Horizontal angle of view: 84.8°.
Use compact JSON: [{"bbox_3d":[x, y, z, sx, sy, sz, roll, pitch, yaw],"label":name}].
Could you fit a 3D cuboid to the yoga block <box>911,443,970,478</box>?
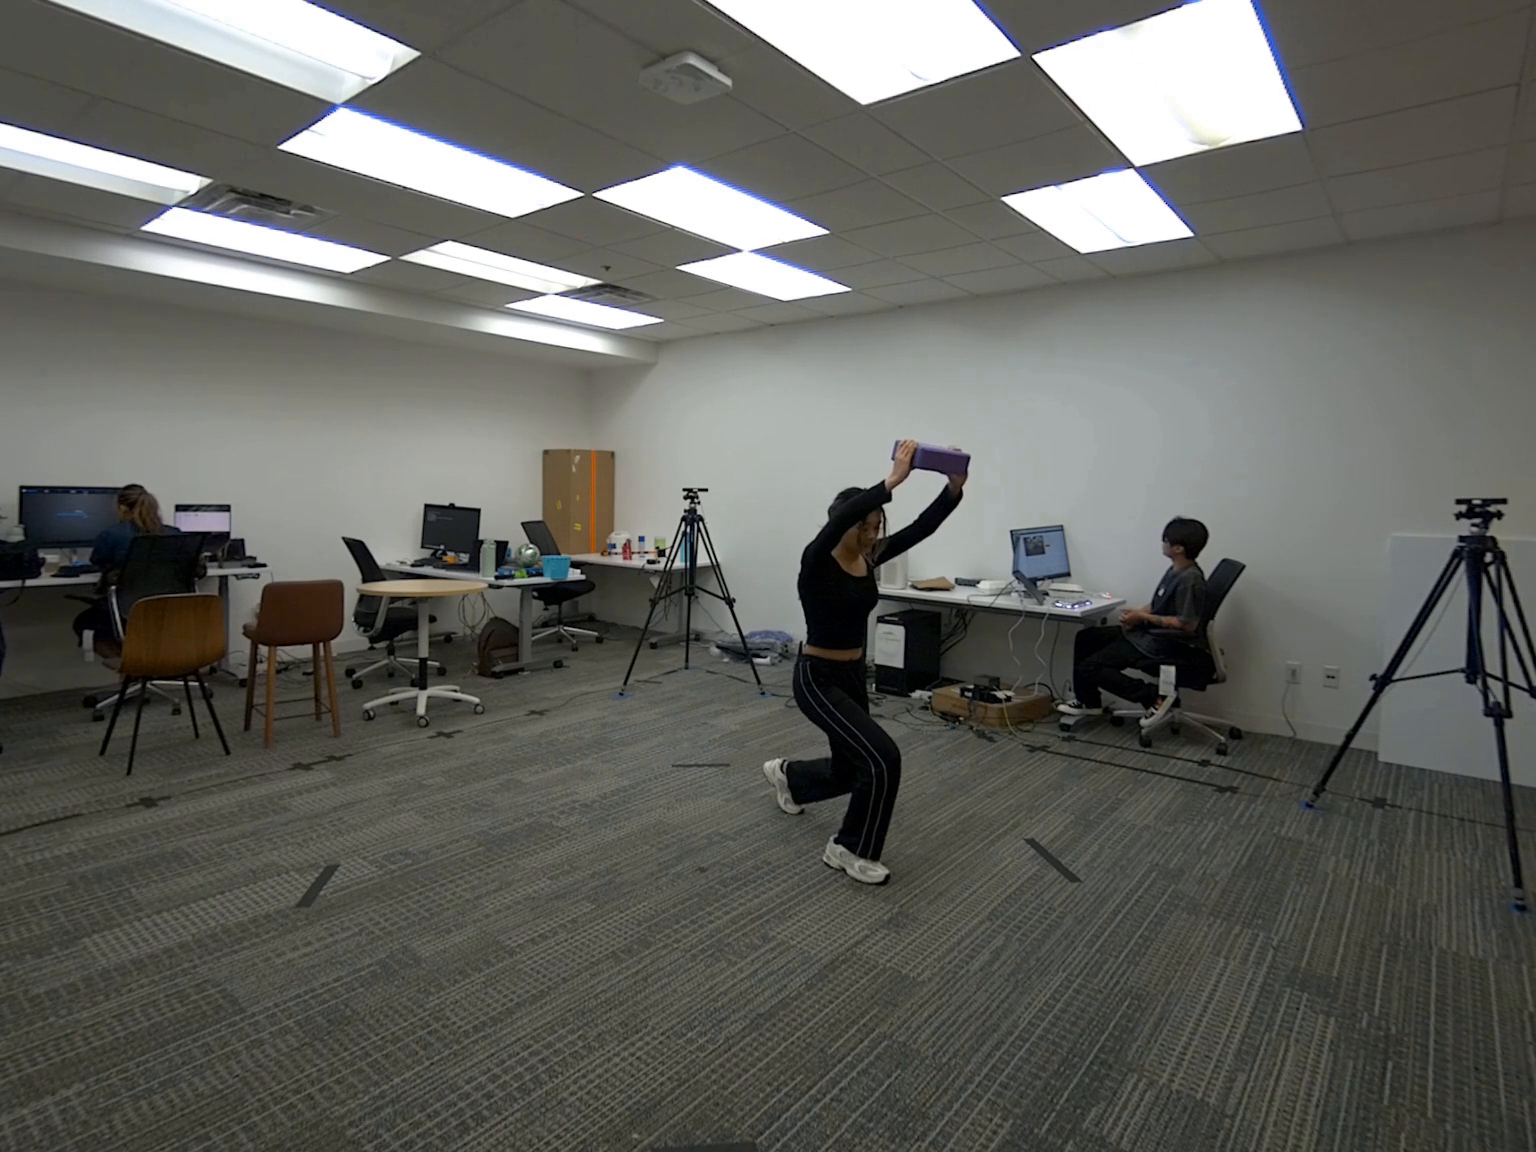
[{"bbox_3d":[0.557,-0.409,2.911,0.223,0.076,0.155,3,16,-30],"label":"yoga block"}]
